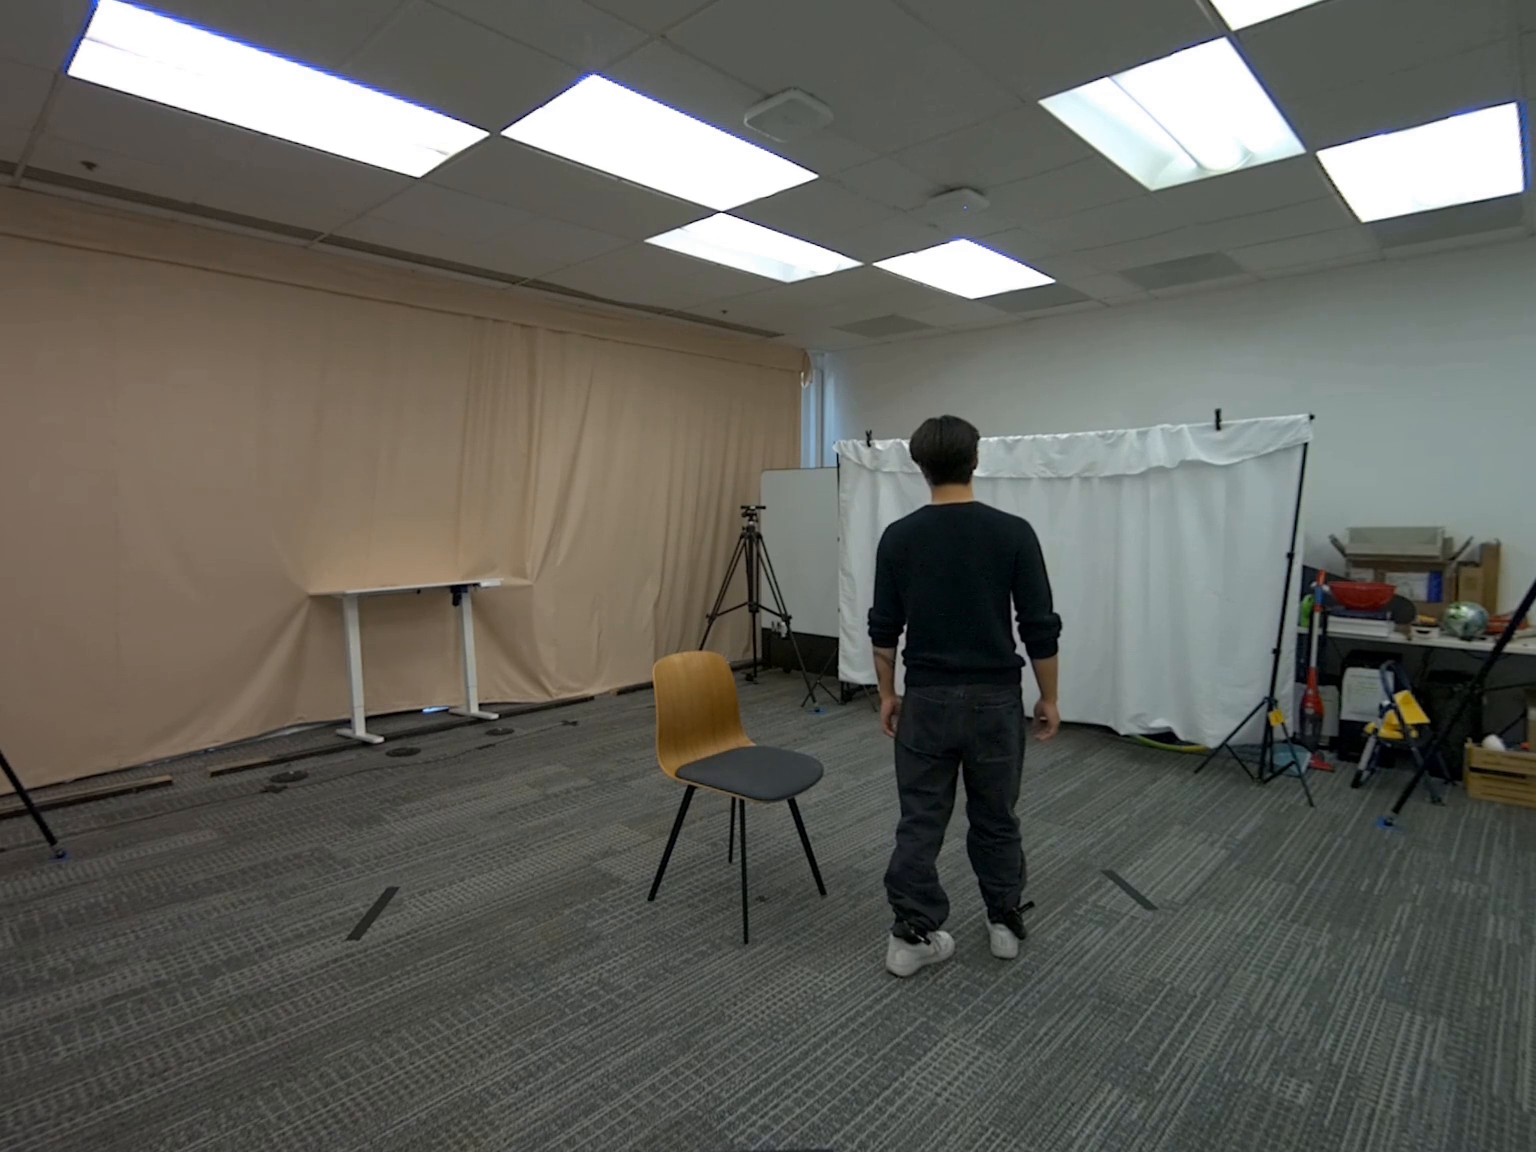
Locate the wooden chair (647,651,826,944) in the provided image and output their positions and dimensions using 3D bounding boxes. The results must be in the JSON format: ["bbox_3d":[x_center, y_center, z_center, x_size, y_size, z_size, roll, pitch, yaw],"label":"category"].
[{"bbox_3d":[-0.099,0.719,2.954,0.539,0.877,0.463,-3,0,40],"label":"wooden chair"}]
